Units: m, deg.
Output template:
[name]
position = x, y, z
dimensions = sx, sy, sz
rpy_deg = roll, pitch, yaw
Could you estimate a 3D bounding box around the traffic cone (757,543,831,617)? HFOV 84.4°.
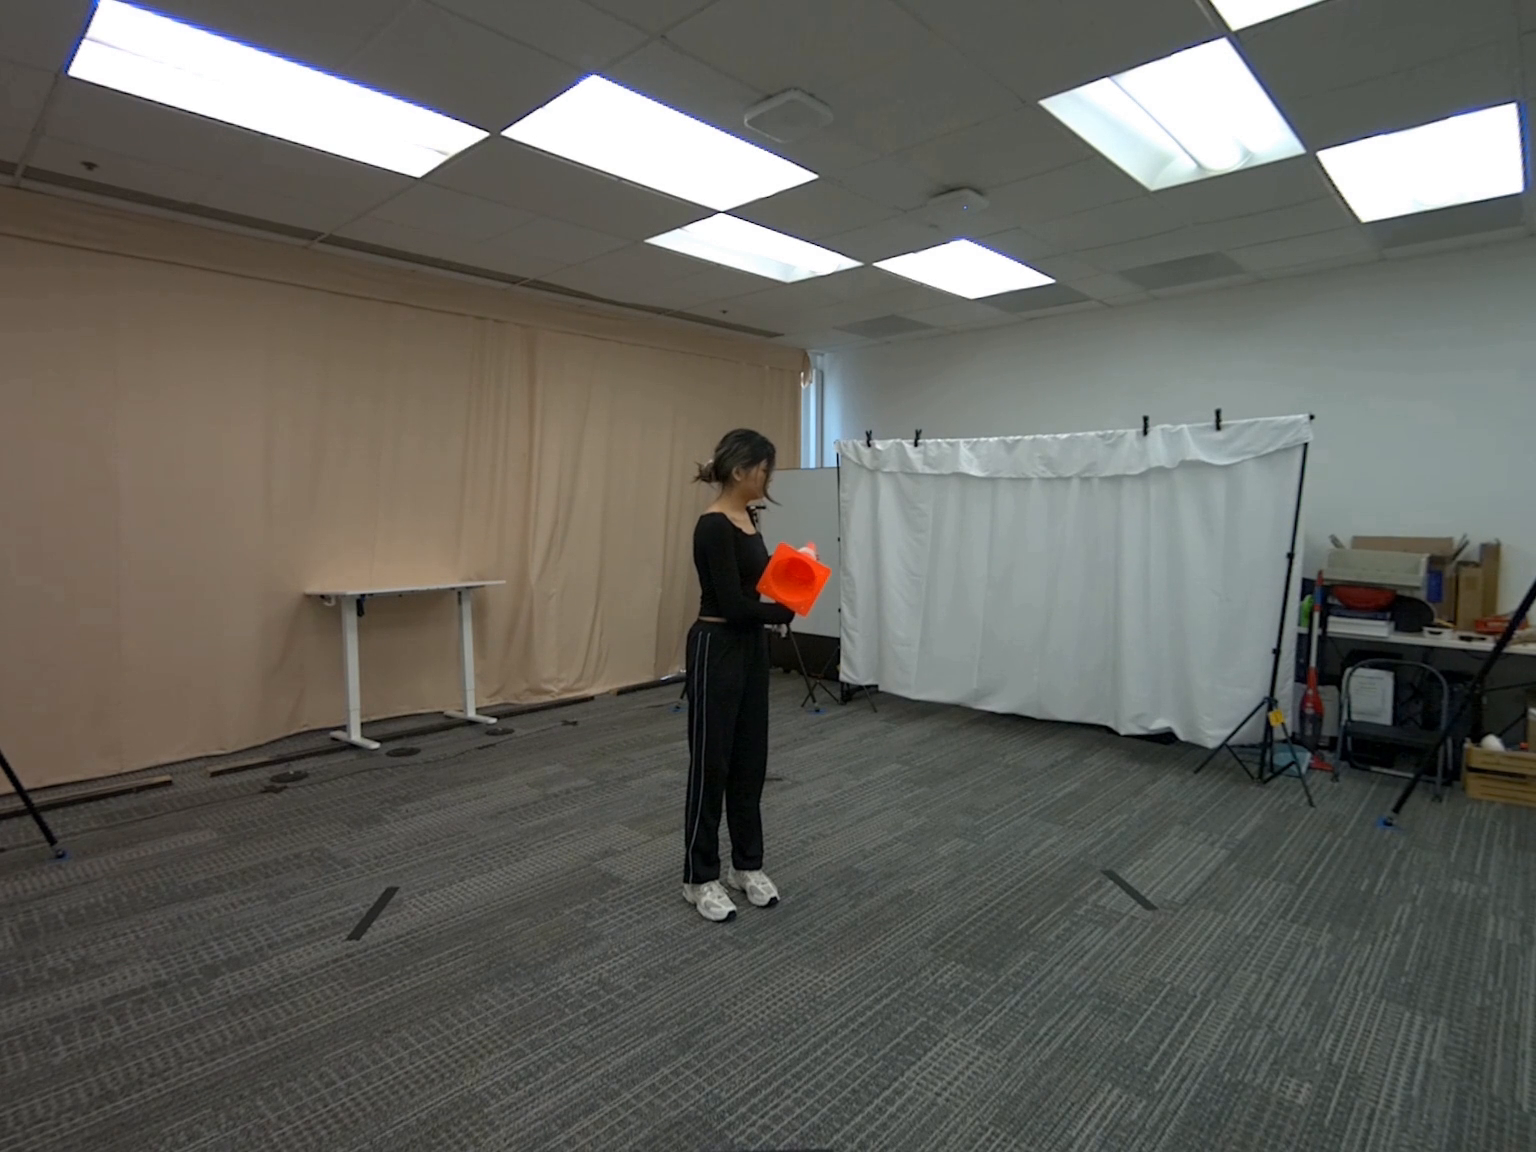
[traffic cone]
position = 0.126, -0.045, 3.014
dimensions = 0.206, 0.203, 0.382
rpy_deg = 29, 23, 2
